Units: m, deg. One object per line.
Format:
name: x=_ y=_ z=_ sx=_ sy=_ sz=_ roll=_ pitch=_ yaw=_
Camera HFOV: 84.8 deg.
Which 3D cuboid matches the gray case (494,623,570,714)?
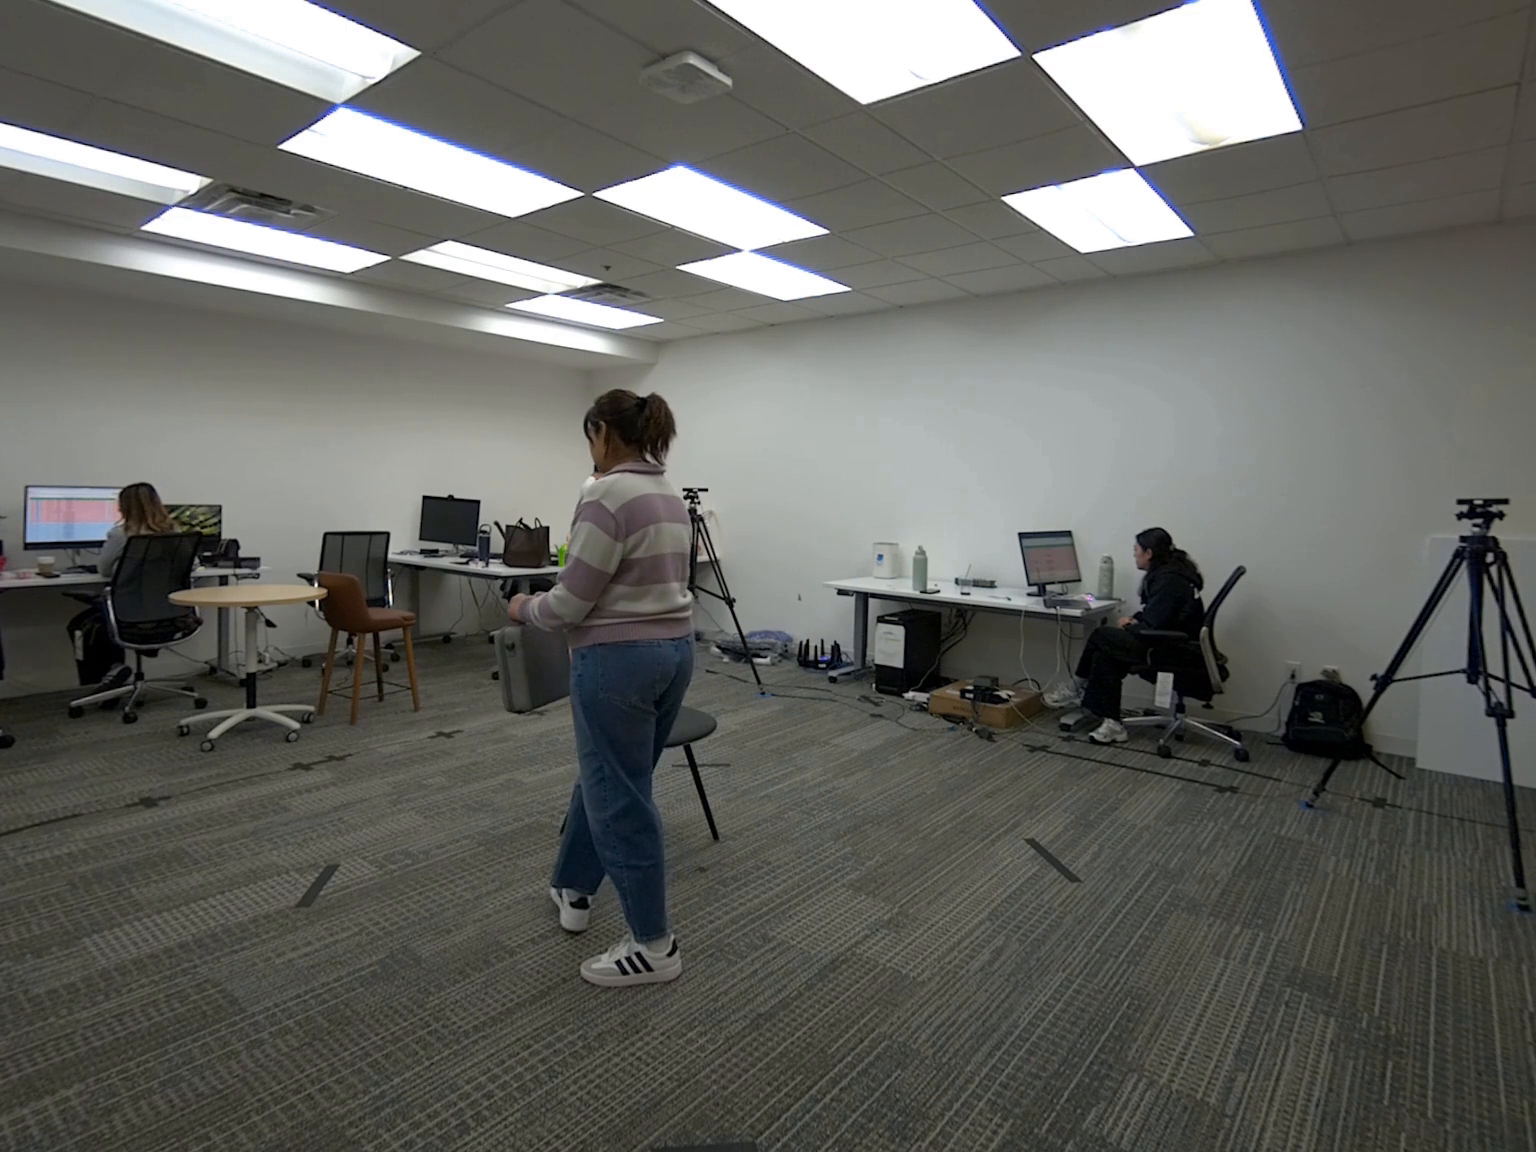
gray case: x=-0.708 y=0.261 z=2.574 sx=0.106 sy=0.260 sz=0.252 roll=-7 pitch=3 yaw=22
